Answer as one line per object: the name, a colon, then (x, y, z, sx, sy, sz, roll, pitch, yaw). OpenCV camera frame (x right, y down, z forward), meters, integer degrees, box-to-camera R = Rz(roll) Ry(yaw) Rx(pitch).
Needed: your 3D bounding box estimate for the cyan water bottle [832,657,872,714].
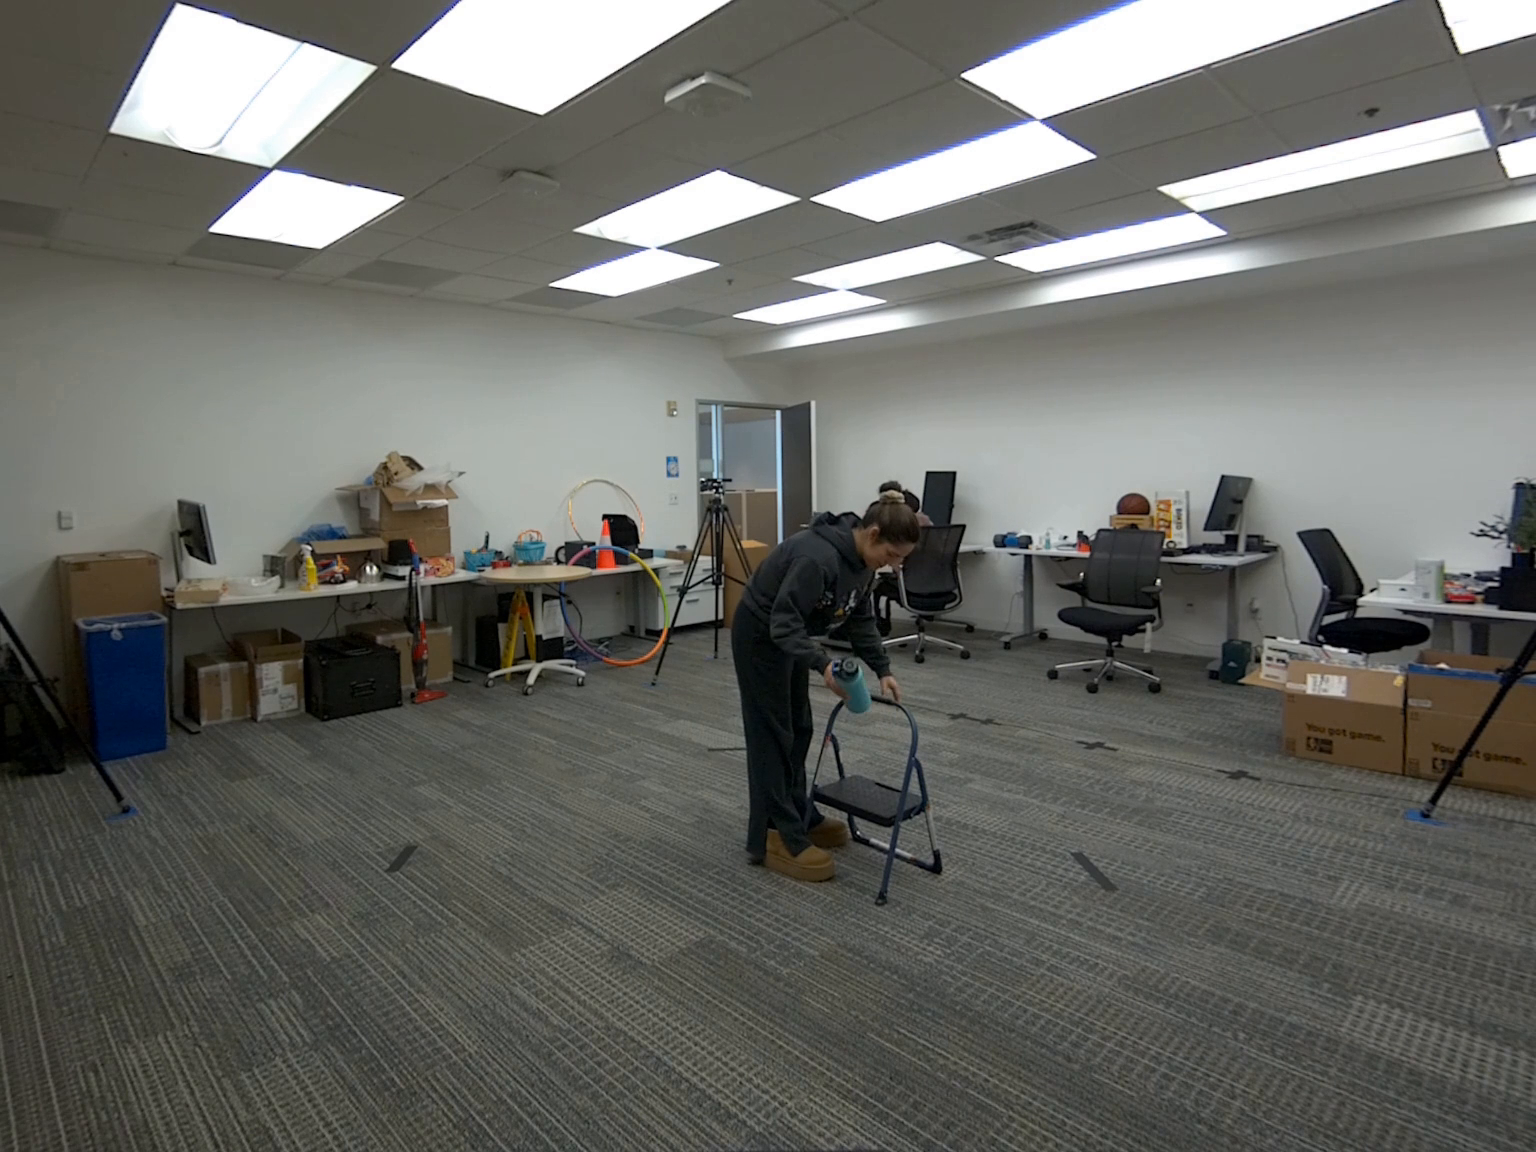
cyan water bottle: (0.288, 0.358, 2.803, 0.093, 0.094, 0.274, 1, -32, 13)
